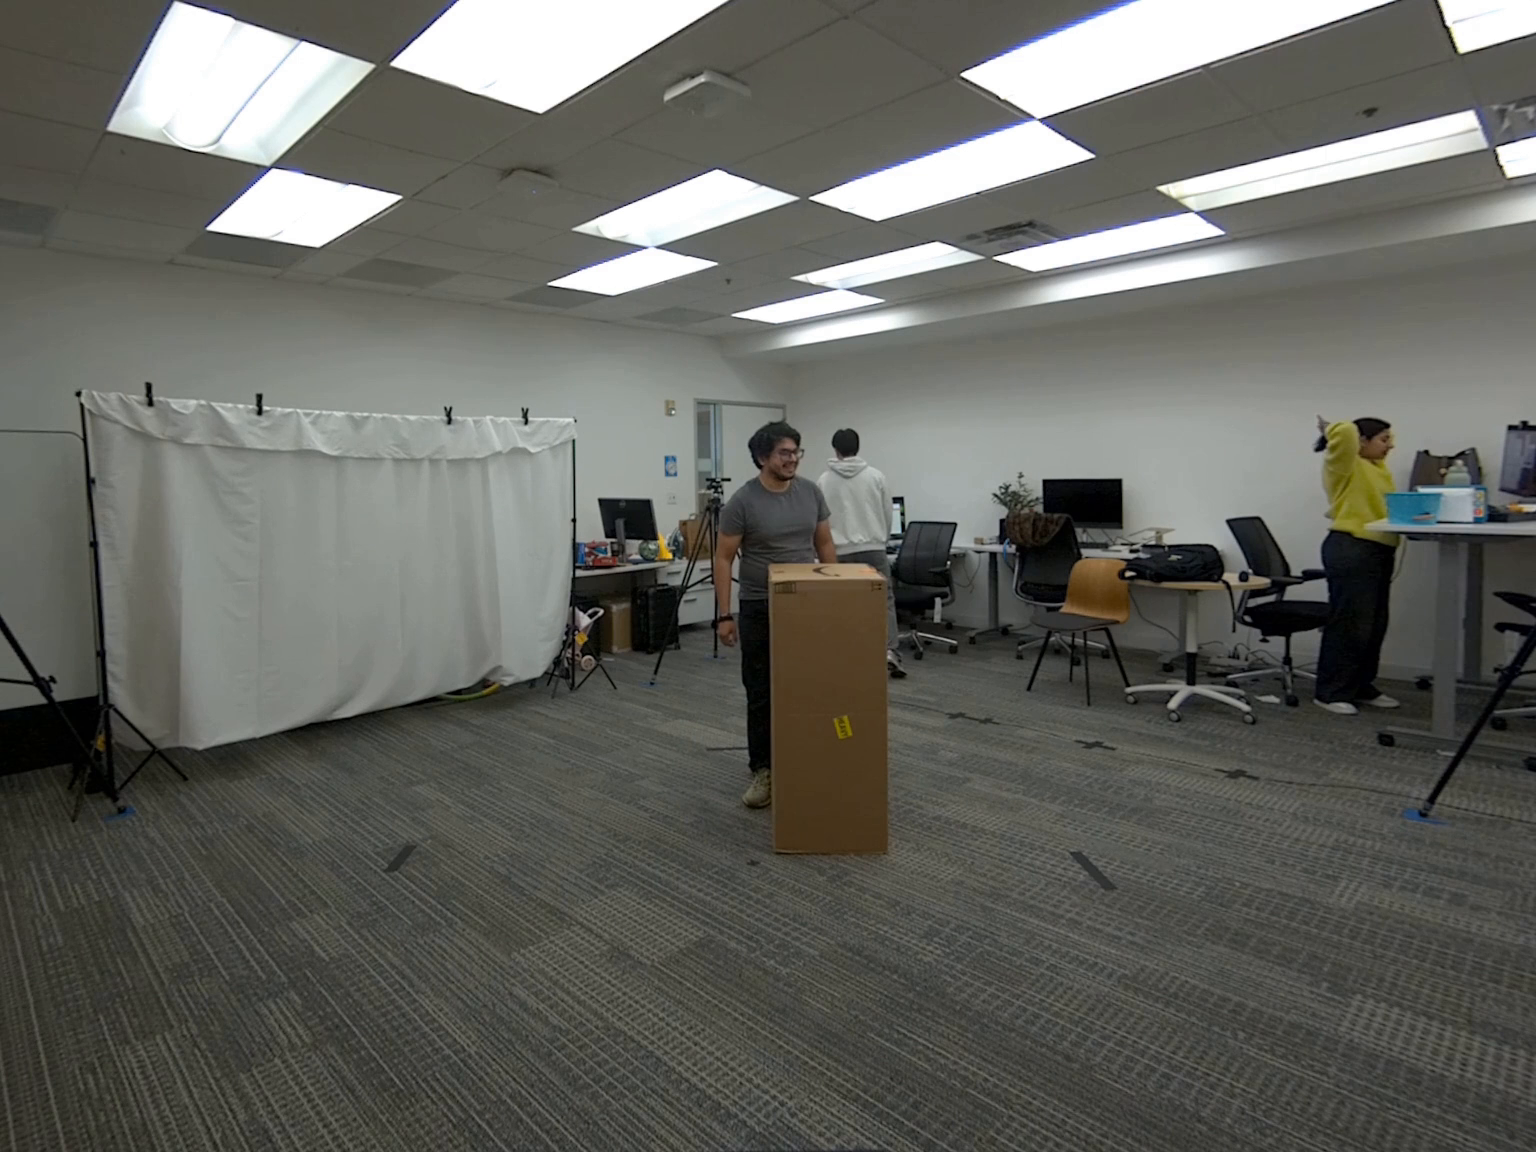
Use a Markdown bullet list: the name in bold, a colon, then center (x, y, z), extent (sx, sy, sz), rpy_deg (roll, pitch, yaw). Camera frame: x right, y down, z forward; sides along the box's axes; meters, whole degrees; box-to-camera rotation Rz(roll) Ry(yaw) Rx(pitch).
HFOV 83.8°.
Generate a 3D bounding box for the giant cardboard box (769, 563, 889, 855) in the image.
- **giant cardboard box**: center (0.231, 0.498, 3.416), extent (0.447, 1.023, 0.585), rpy_deg (-1, 4, 0)
